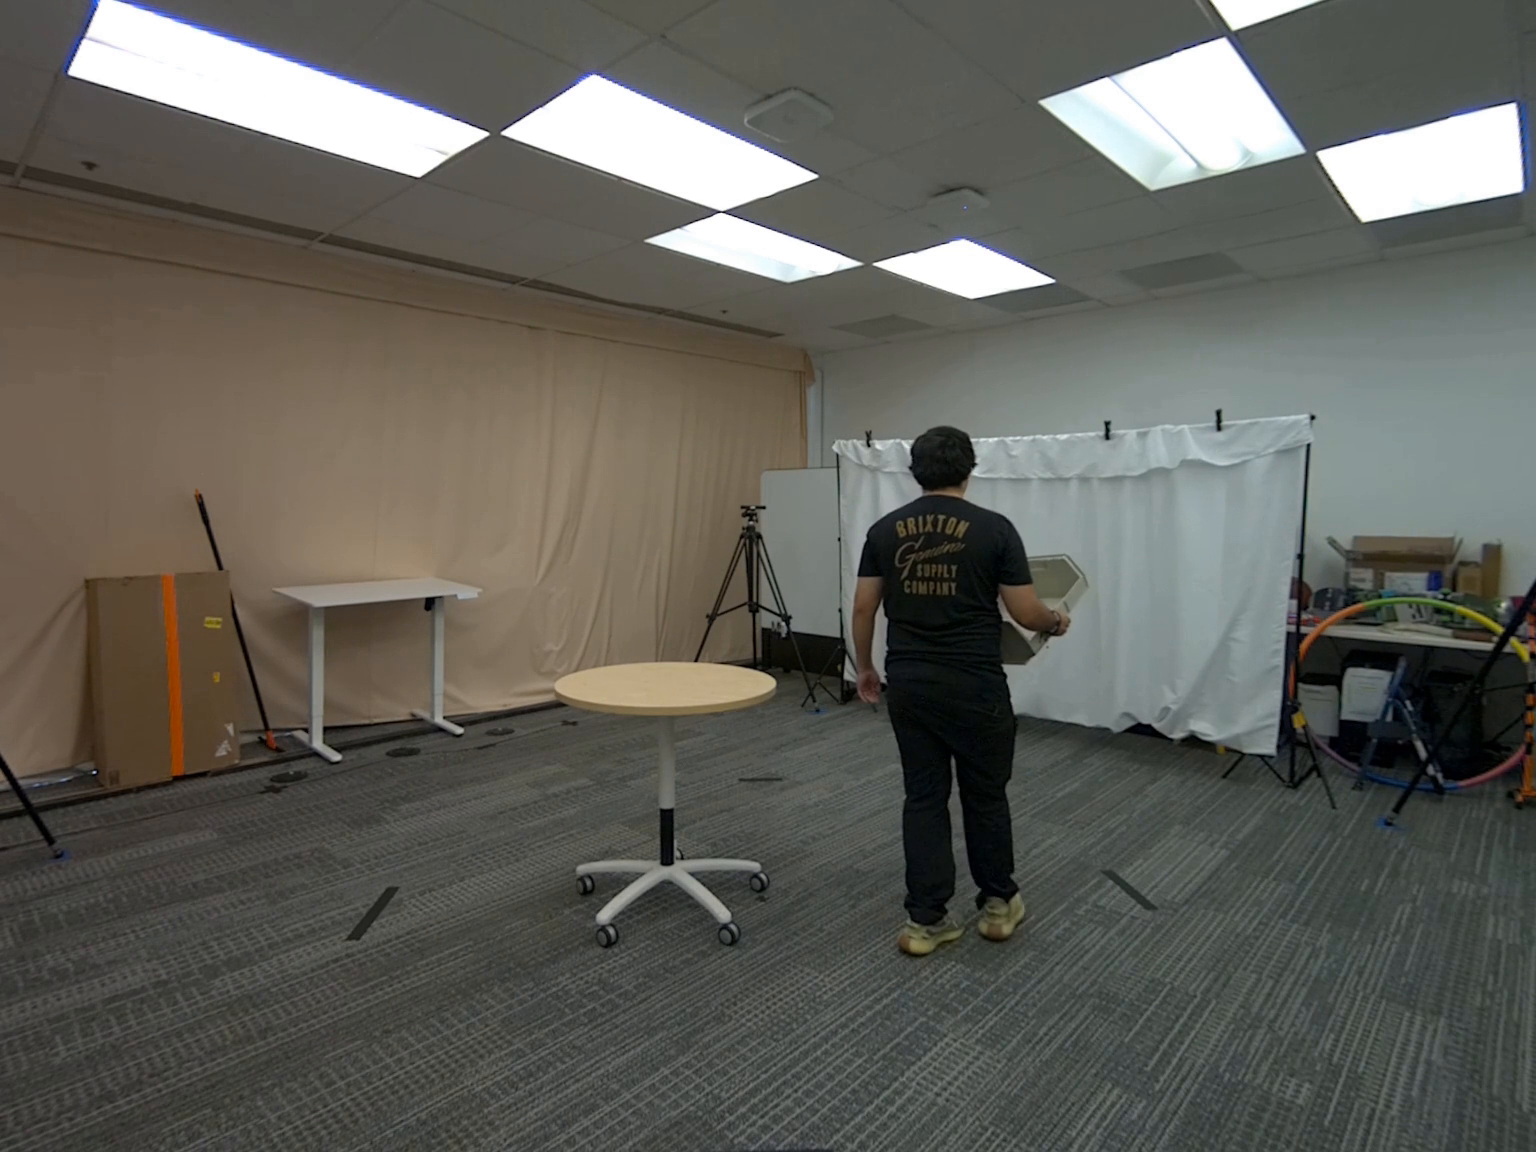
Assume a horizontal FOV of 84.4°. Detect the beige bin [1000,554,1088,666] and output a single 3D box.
[{"bbox_3d":[0.871,0.120,2.983,0.417,0.186,0.387,-40,18,-32],"label":"beige bin"}]
